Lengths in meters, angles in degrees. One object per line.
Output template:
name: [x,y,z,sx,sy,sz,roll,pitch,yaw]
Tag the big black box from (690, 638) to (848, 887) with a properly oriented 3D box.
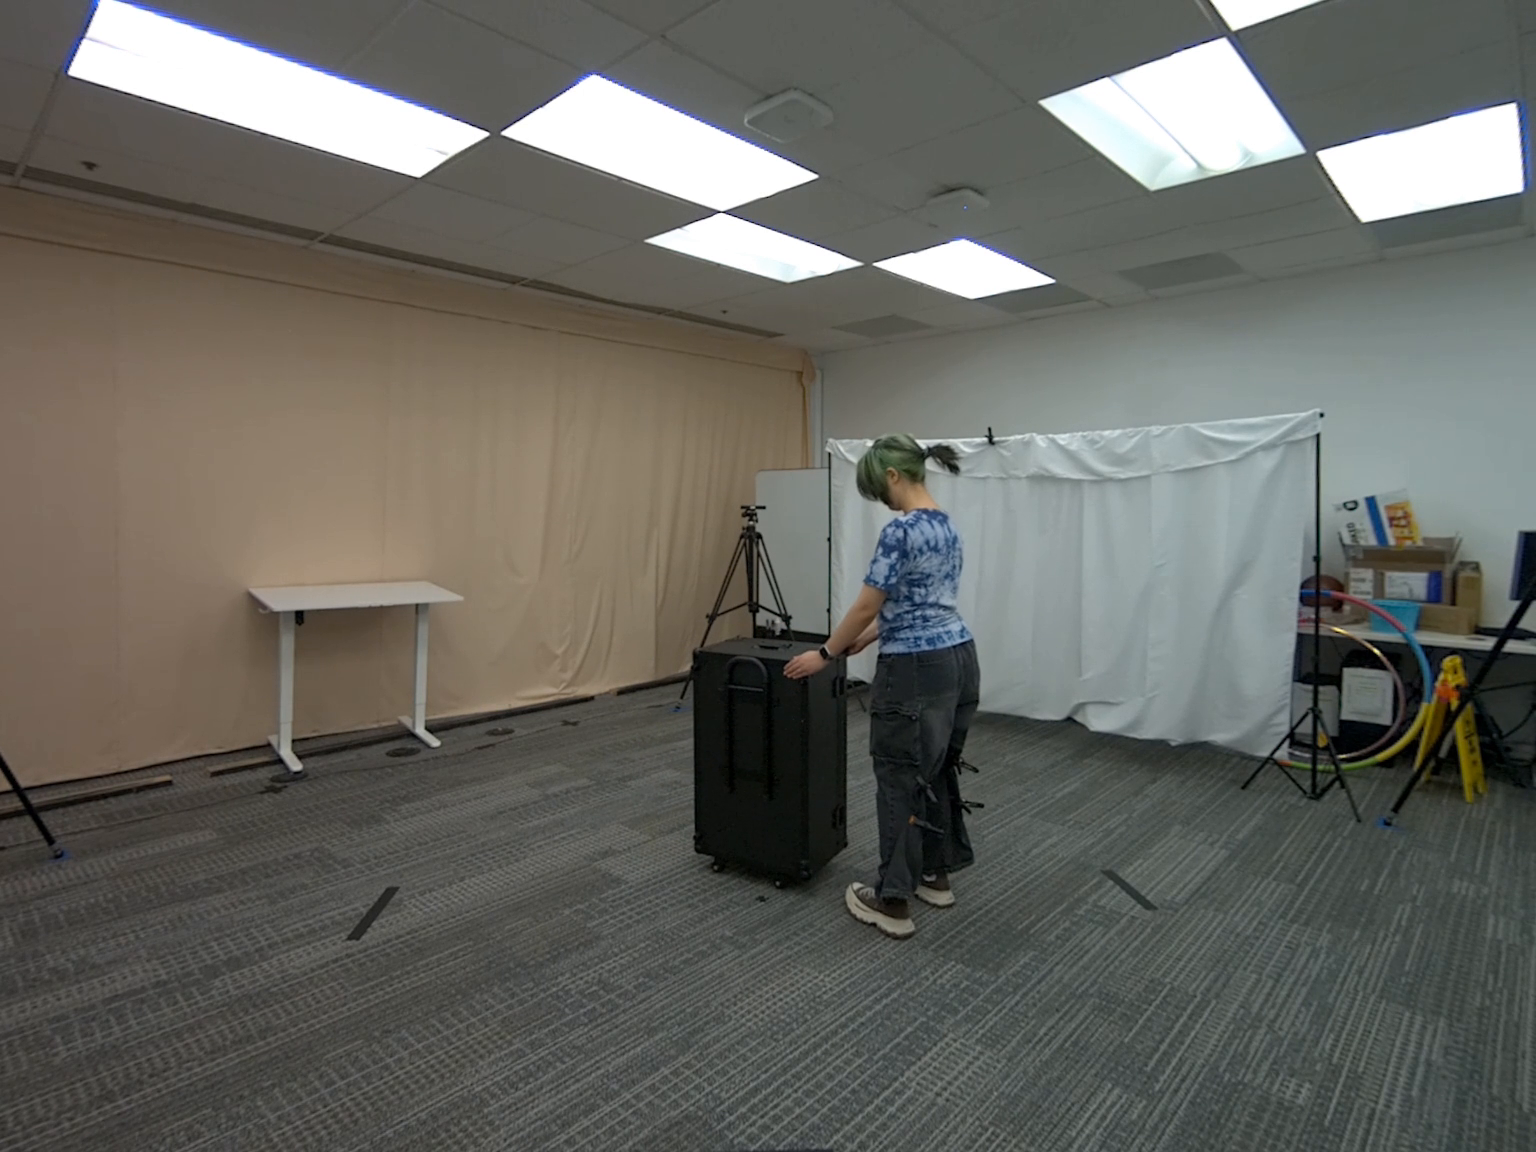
big black box: [0.008,0.702,3.212,0.537,0.859,0.386,3,5,31]
